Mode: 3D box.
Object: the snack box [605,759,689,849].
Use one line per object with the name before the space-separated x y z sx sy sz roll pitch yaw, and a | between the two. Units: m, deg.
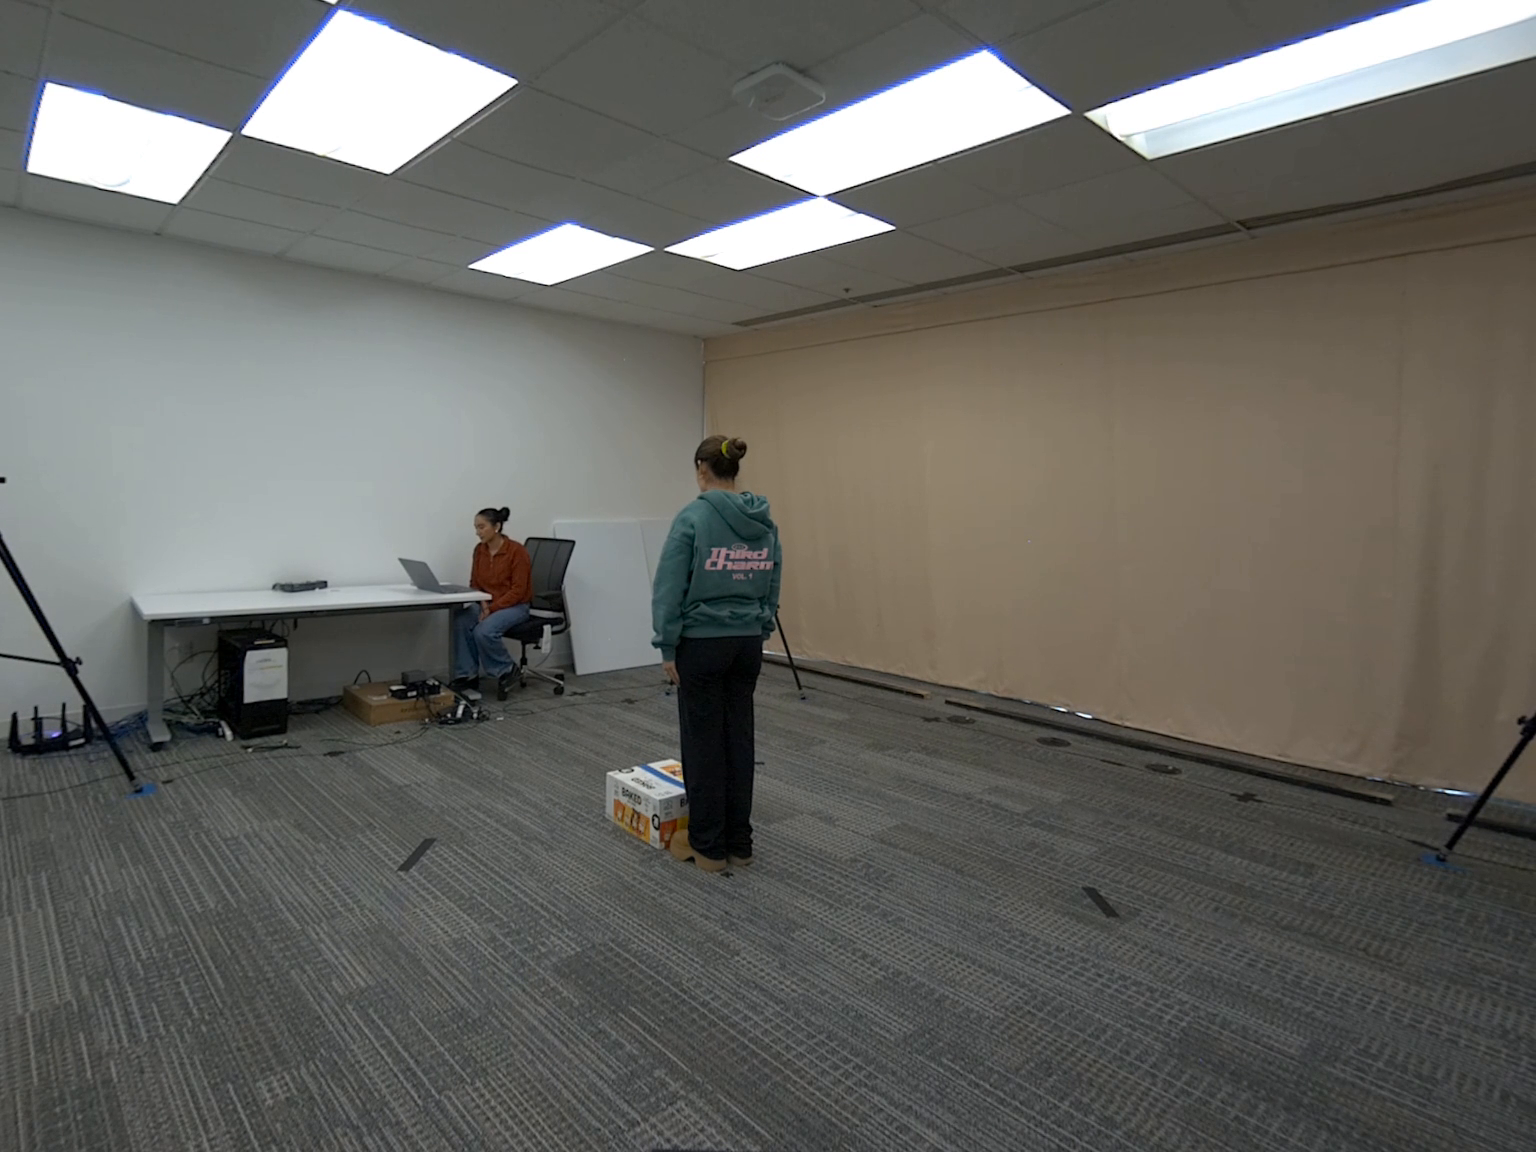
snack box | -0.444 0.955 3.560 0.332 0.205 0.415 -2 6 -40
